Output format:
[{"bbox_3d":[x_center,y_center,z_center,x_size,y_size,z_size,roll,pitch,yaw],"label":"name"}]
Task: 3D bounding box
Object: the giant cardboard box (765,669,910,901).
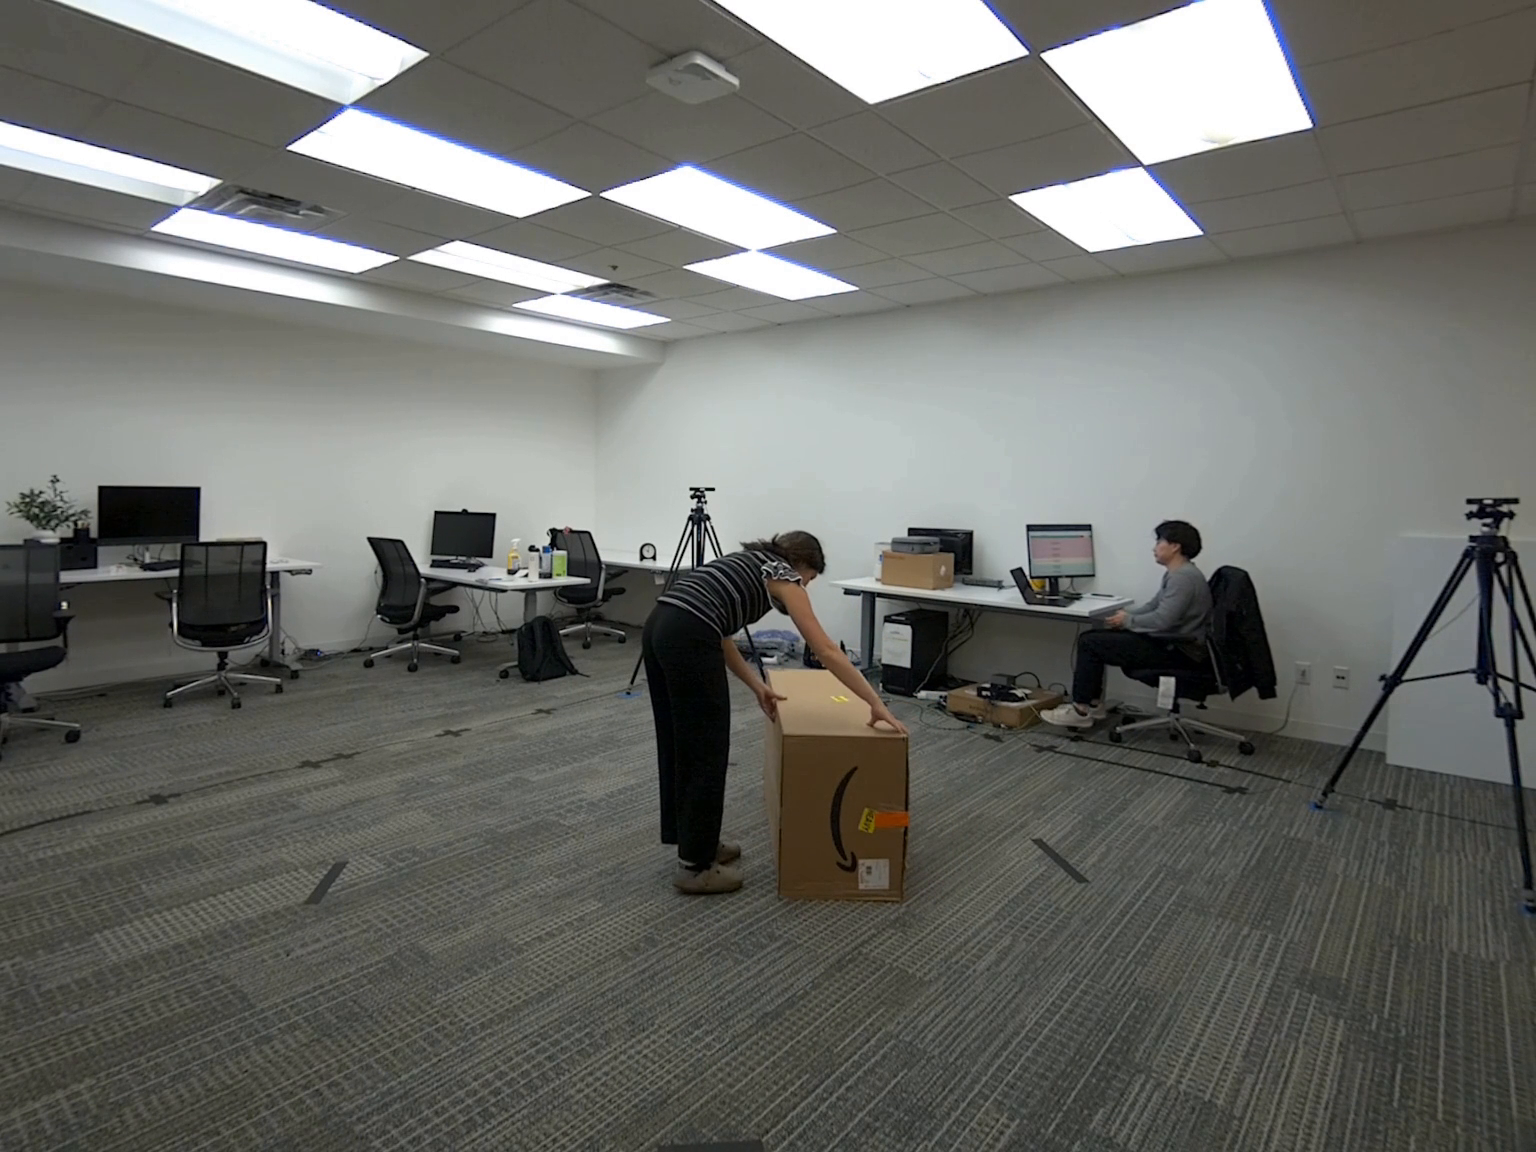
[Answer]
[{"bbox_3d":[0.229,0.754,3.384,0.426,0.575,1.031,1,6,-2],"label":"giant cardboard box"}]
